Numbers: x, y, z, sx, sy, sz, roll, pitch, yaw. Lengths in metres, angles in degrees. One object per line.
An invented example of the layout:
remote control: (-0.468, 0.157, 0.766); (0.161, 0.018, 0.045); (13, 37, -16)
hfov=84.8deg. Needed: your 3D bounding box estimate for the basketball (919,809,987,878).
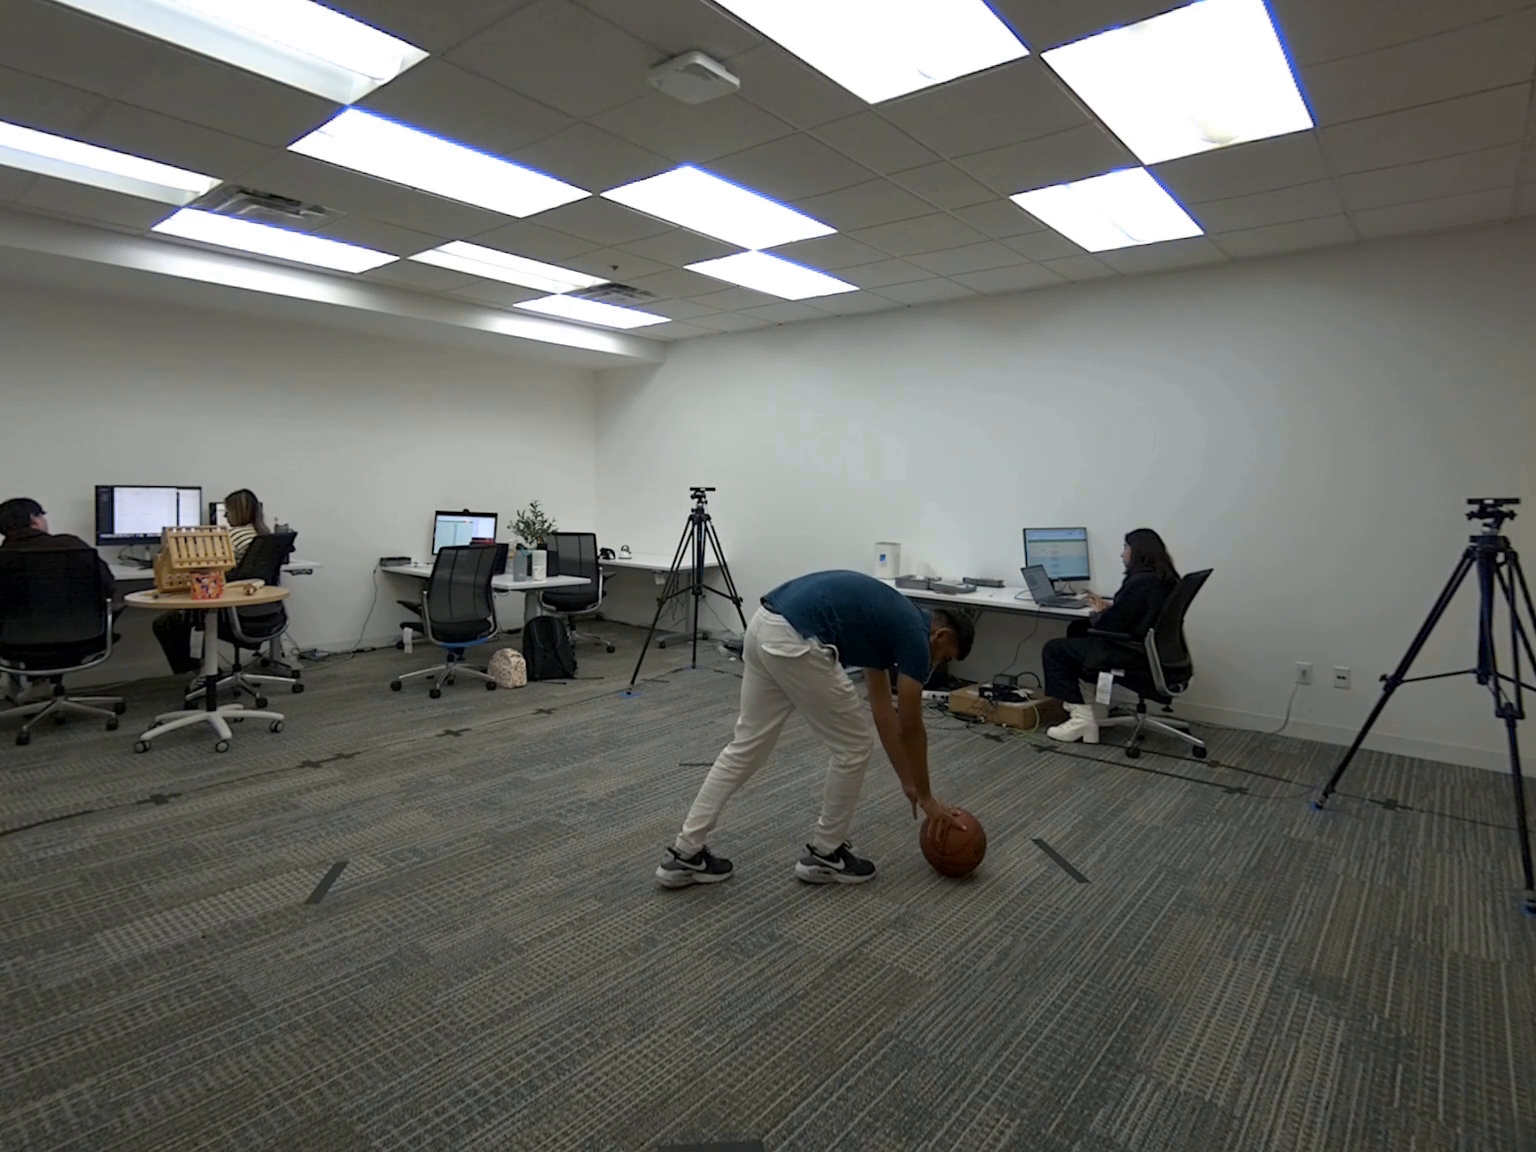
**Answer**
basketball: (0.665, 0.948, 3.121); (0.235, 0.235, 0.237); (1, 4, -2)
